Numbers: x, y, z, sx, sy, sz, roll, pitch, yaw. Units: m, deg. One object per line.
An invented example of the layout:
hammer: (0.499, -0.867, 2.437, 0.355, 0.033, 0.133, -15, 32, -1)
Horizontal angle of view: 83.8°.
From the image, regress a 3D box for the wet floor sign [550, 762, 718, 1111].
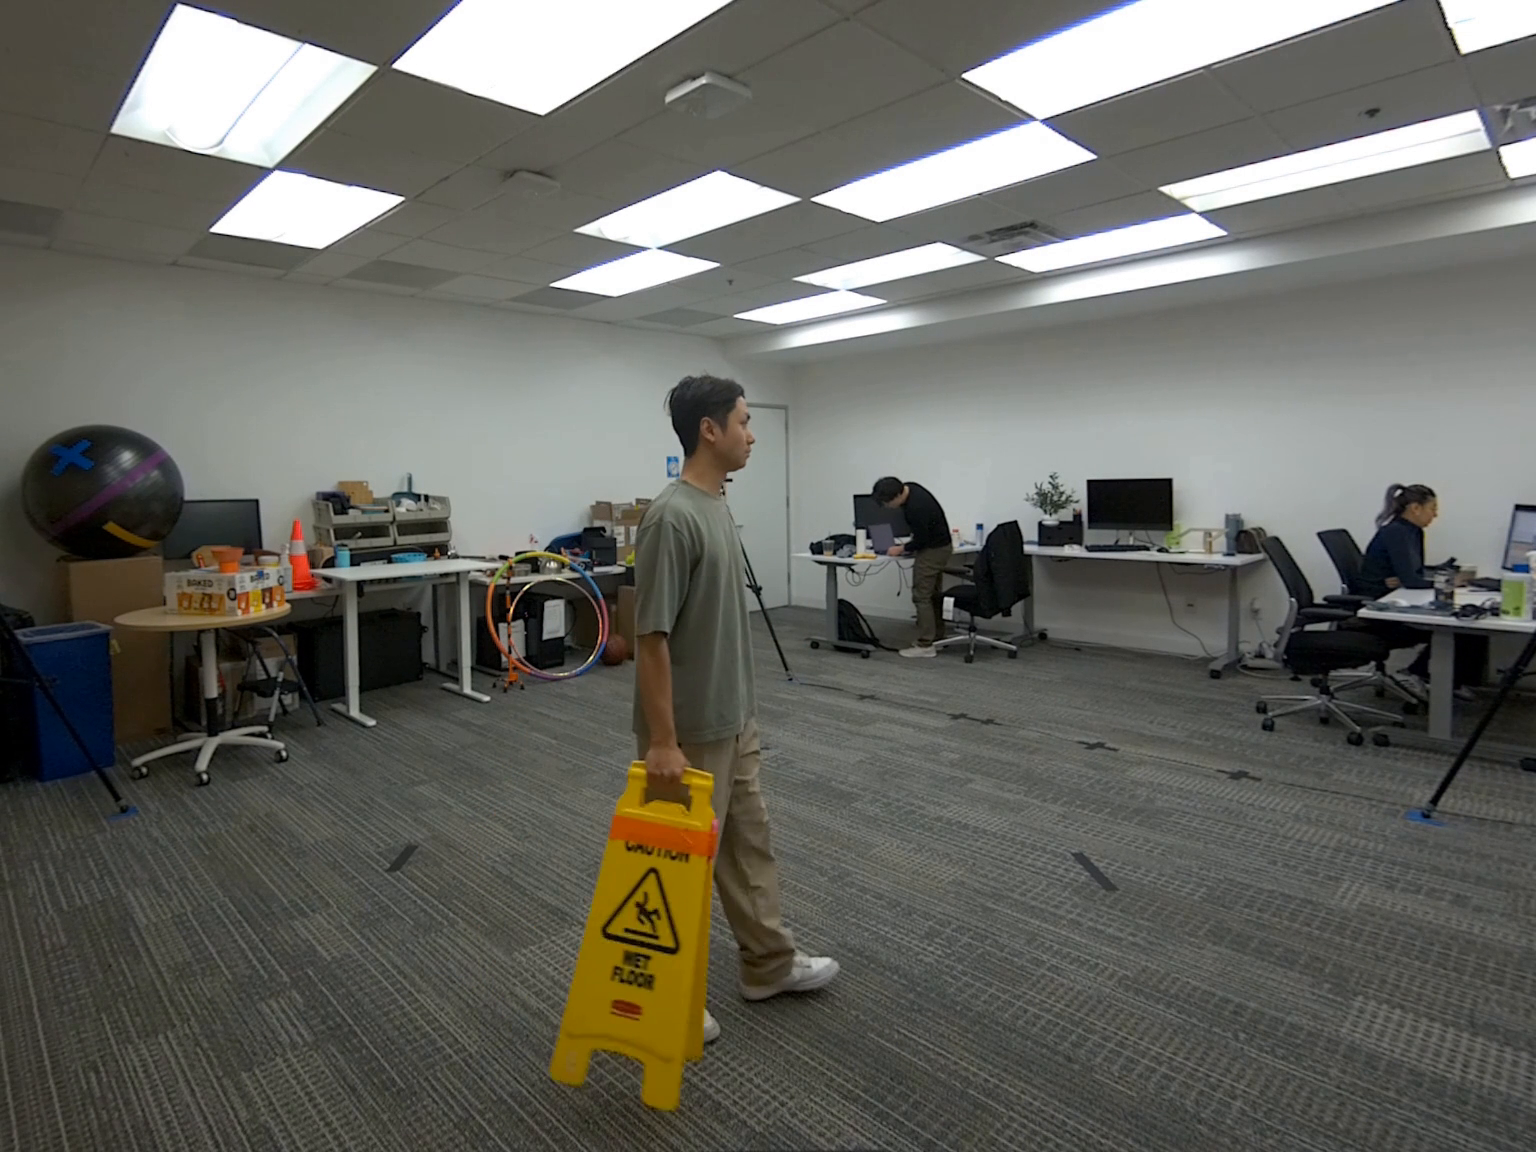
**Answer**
wet floor sign: (-0.253, 0.758, 1.921, 0.286, 0.650, 0.284, 7, -7, 11)
